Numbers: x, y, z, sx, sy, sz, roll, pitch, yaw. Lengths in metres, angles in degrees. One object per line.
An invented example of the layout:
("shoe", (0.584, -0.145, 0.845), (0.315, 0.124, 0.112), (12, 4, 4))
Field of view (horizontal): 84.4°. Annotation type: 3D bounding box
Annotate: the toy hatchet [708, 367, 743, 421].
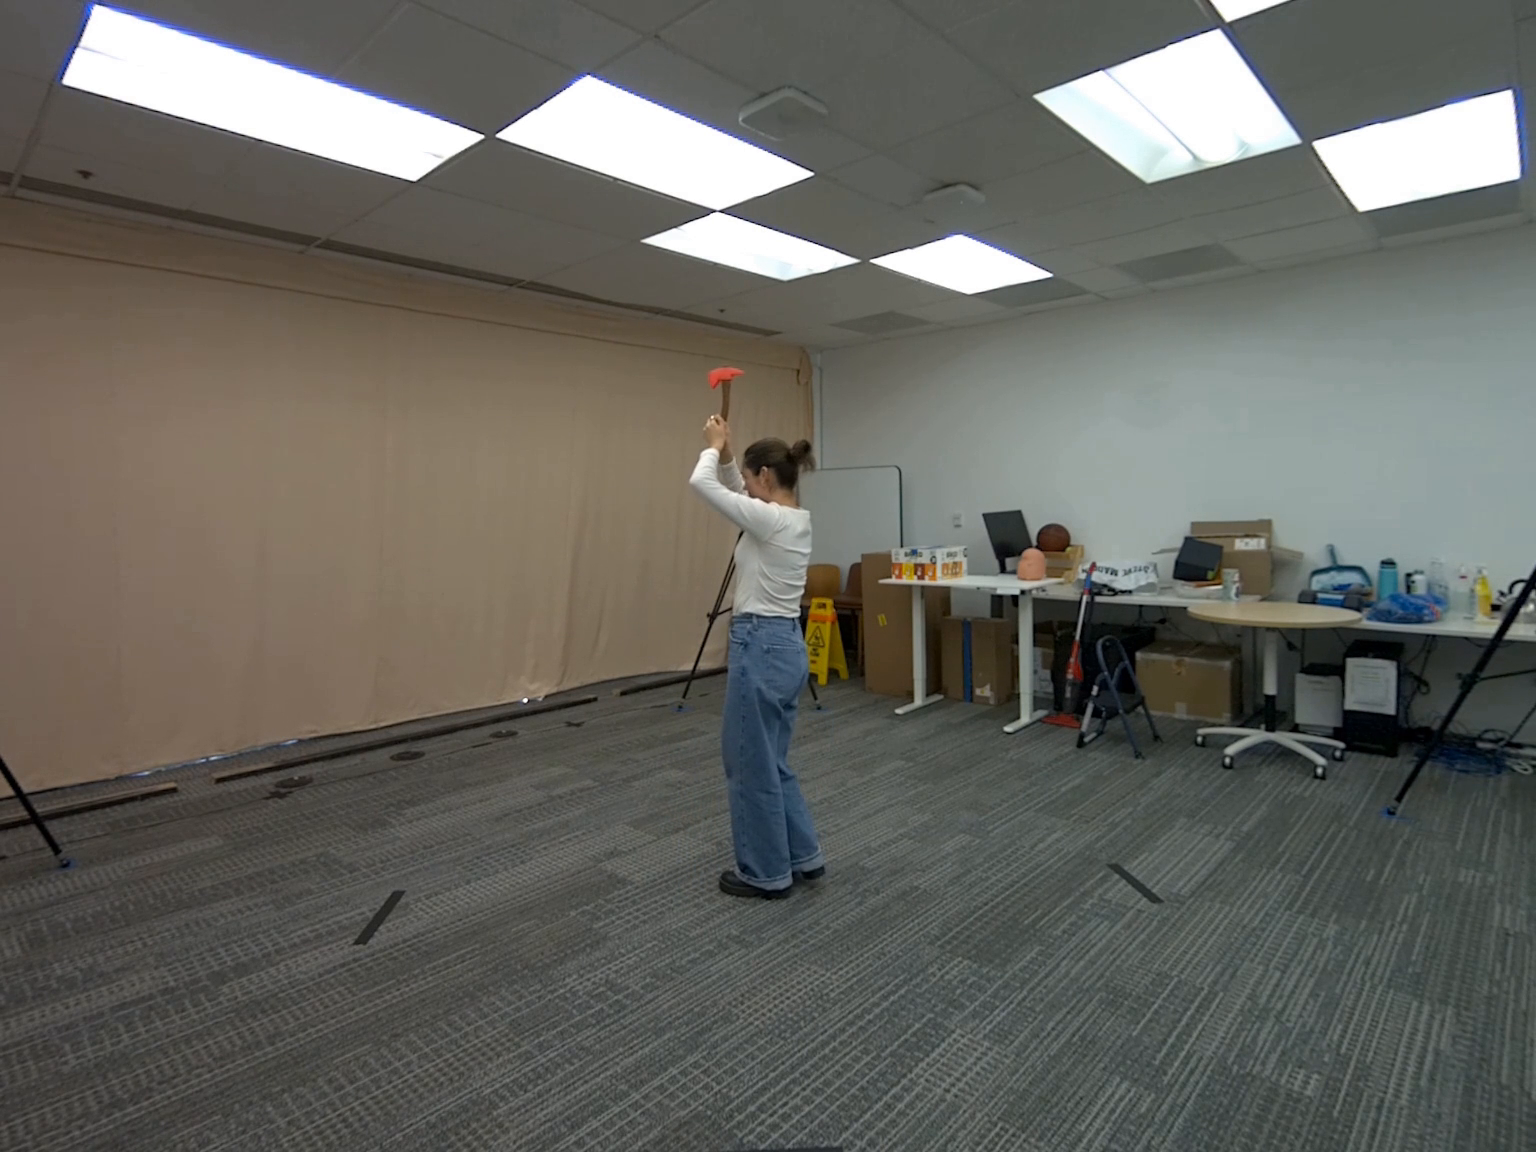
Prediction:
("toy hatchet", (-0.179, -0.624, 3.006), (0.134, 0.269, 0.029), (21, 7, 18))
